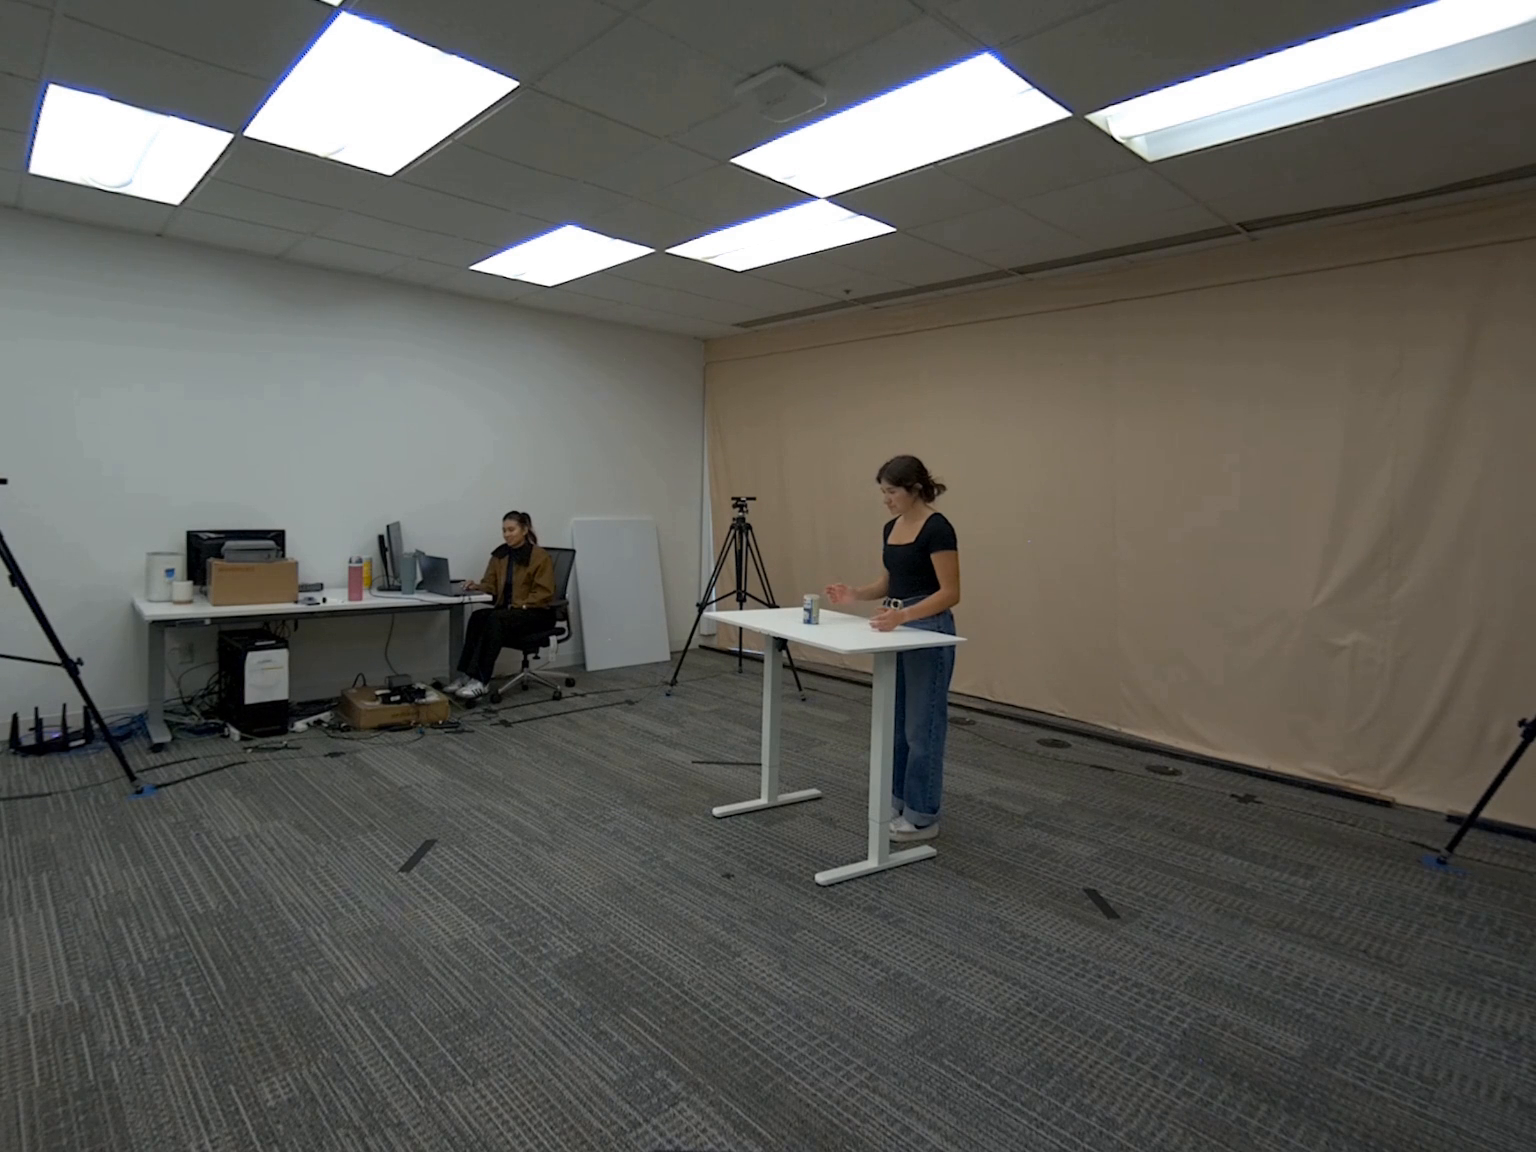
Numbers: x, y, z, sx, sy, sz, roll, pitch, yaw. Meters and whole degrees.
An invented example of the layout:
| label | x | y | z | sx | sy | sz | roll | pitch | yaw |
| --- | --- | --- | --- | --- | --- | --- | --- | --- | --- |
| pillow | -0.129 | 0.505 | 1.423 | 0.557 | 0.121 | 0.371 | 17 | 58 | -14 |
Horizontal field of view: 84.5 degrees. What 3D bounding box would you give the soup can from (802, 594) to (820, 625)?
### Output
| label | x | y | z | sx | sy | sz | roll | pitch | yaw |
| --- | --- | --- | --- | --- | --- | --- | --- | --- | --- |
| soup can | 0.176 | 0.139 | 3.502 | 0.067 | 0.121 | 0.067 | 3 | 3 | -2 |
